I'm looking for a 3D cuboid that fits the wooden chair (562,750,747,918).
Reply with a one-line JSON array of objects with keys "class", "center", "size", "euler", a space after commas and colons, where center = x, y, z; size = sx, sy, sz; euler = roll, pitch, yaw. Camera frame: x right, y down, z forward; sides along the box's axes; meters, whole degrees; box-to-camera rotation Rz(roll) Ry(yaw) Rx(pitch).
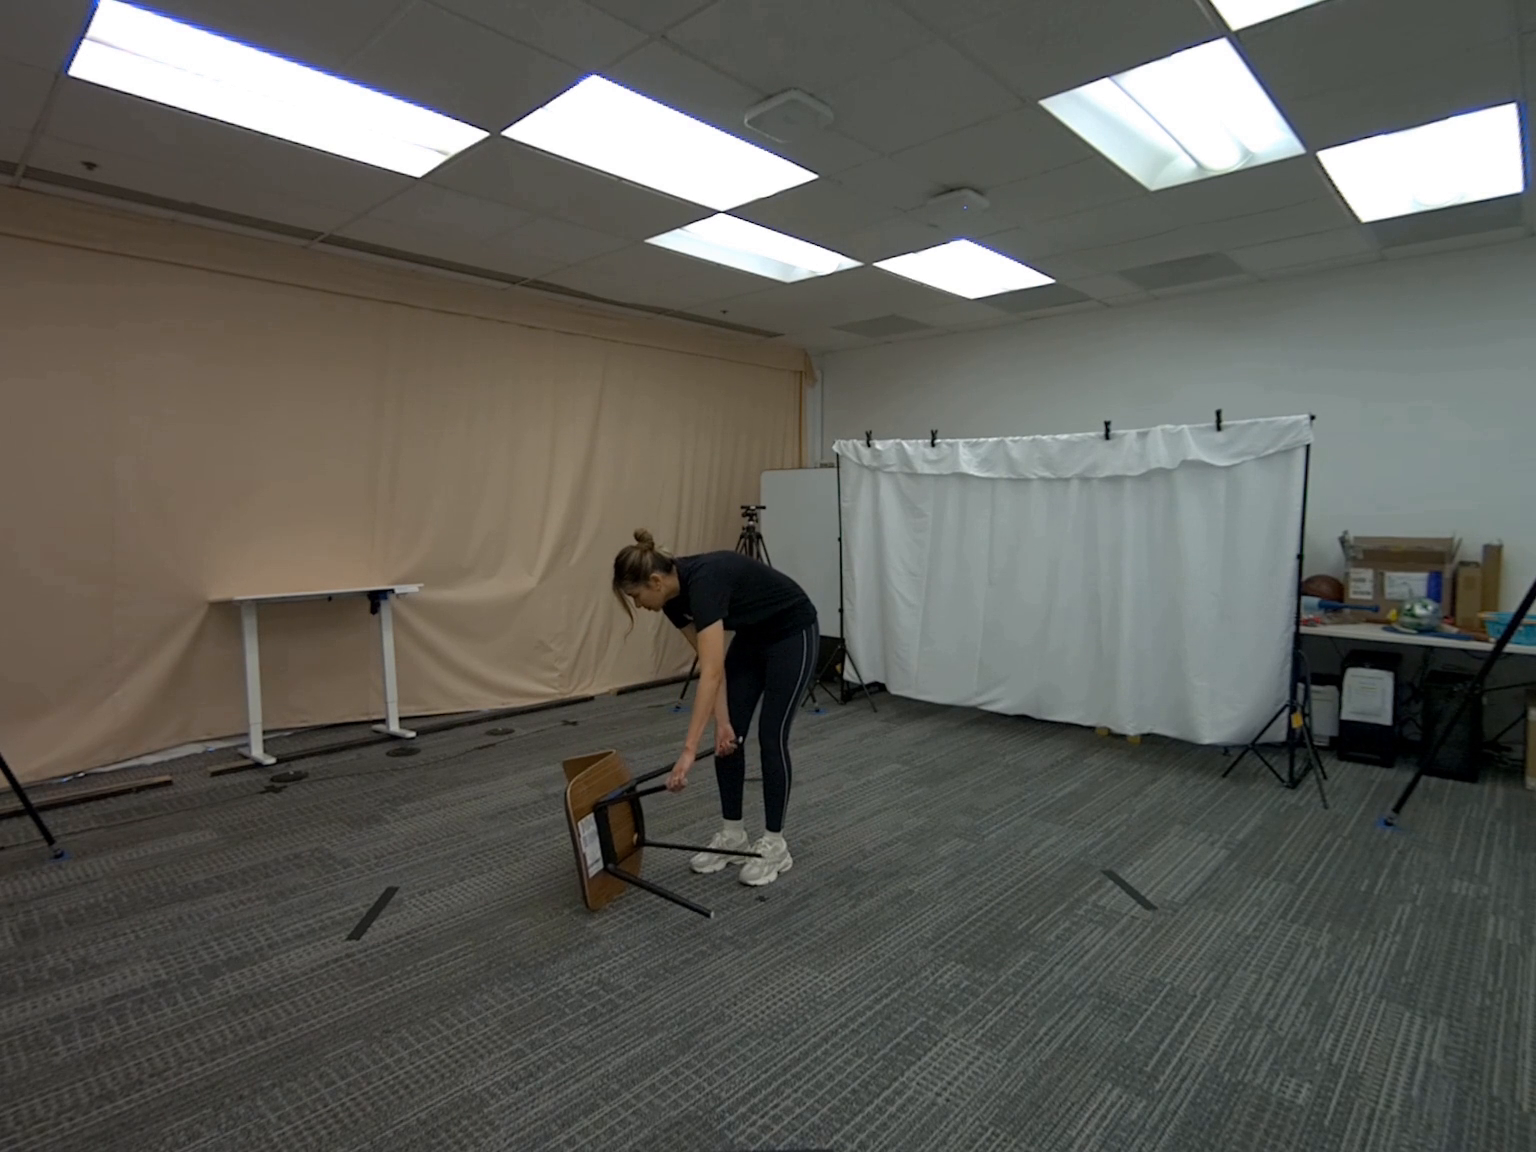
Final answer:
[{"class": "wooden chair", "center": [-0.531, 0.905, 3.038], "size": [0.899, 0.477, 0.511], "euler": [-9, 3, 28]}]
